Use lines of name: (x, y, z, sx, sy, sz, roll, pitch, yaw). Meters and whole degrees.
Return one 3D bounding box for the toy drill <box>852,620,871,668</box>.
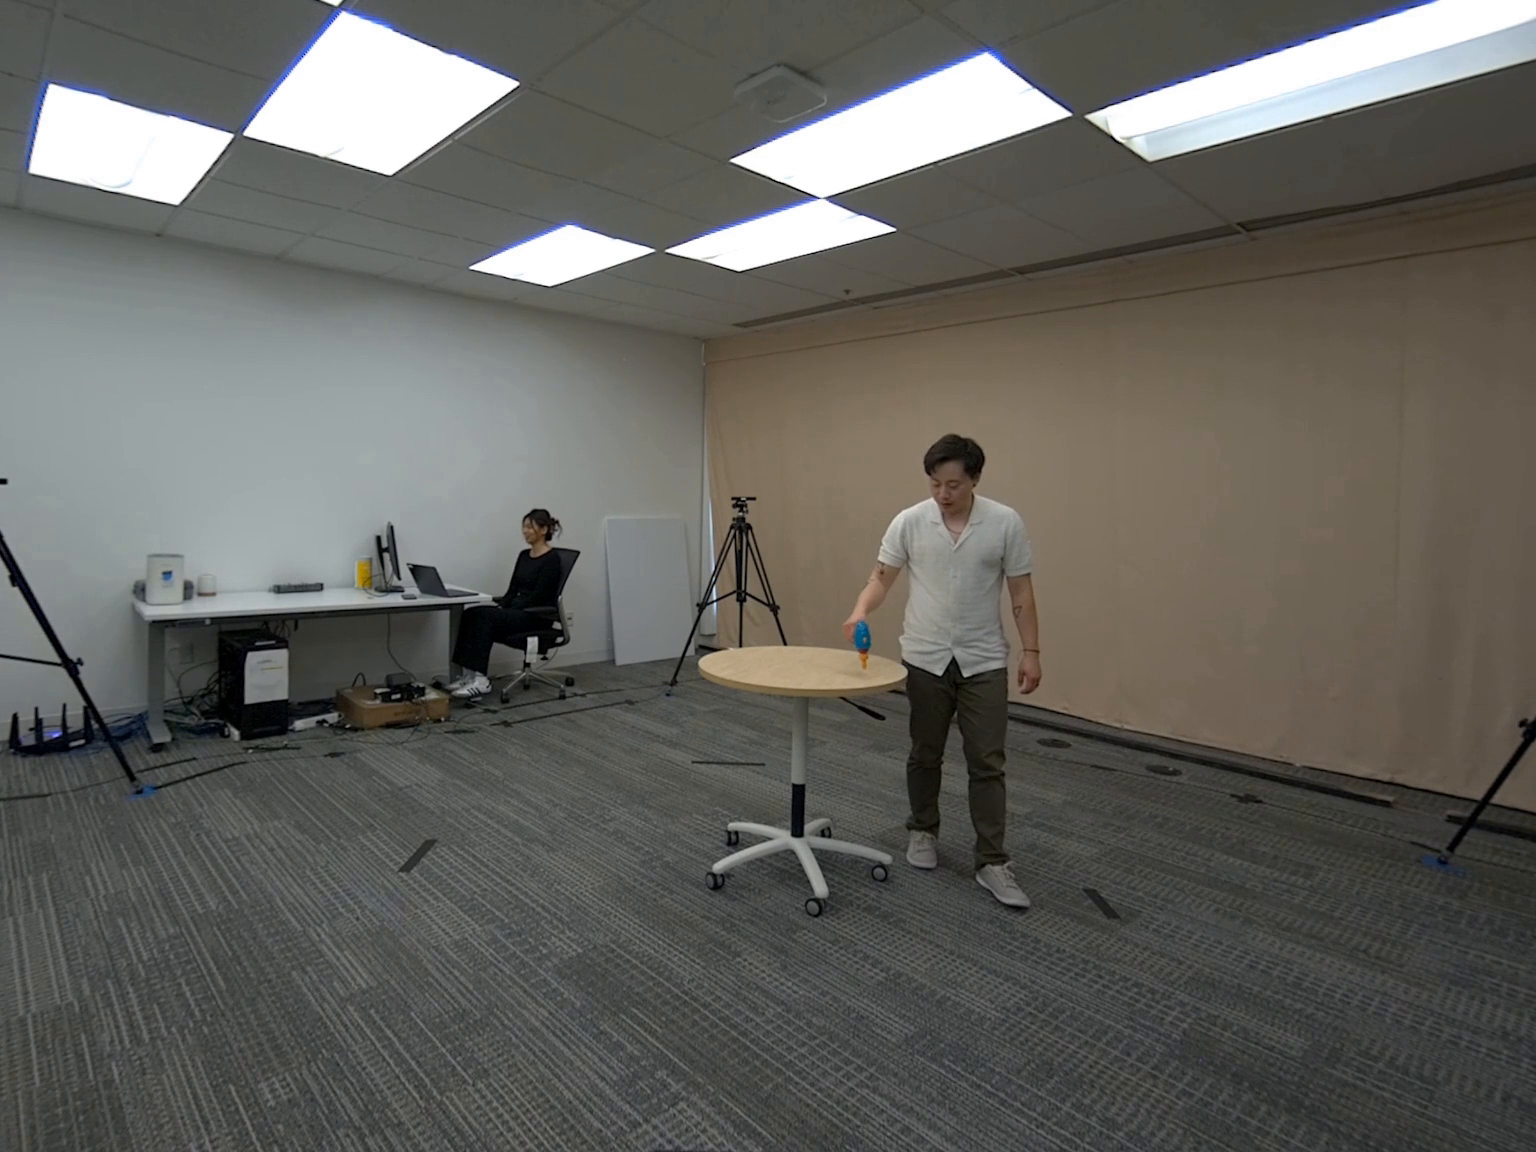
toy drill: (0.318, 0.249, 2.981, 0.061, 0.170, 0.146, -3, -4, -6)
